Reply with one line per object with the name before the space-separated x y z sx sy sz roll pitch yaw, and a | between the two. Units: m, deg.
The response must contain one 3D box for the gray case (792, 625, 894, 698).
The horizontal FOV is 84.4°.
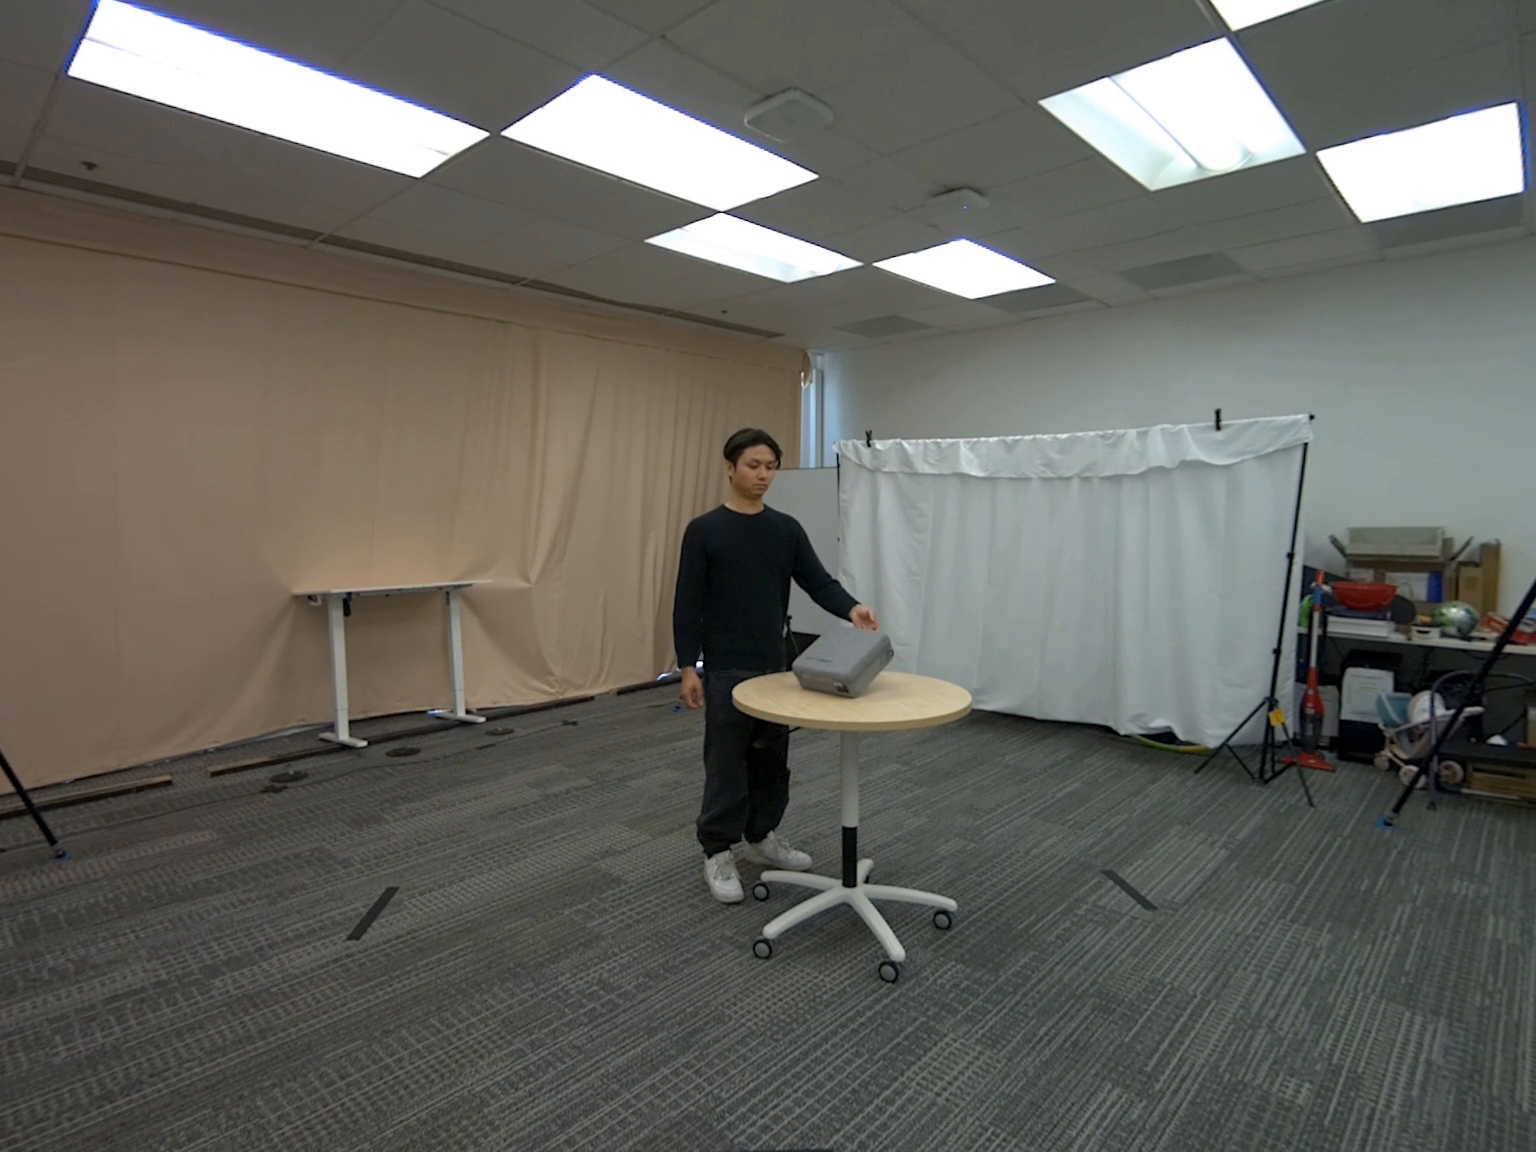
gray case | 0.254 0.278 2.776 0.265 0.102 0.257 5 37 49
